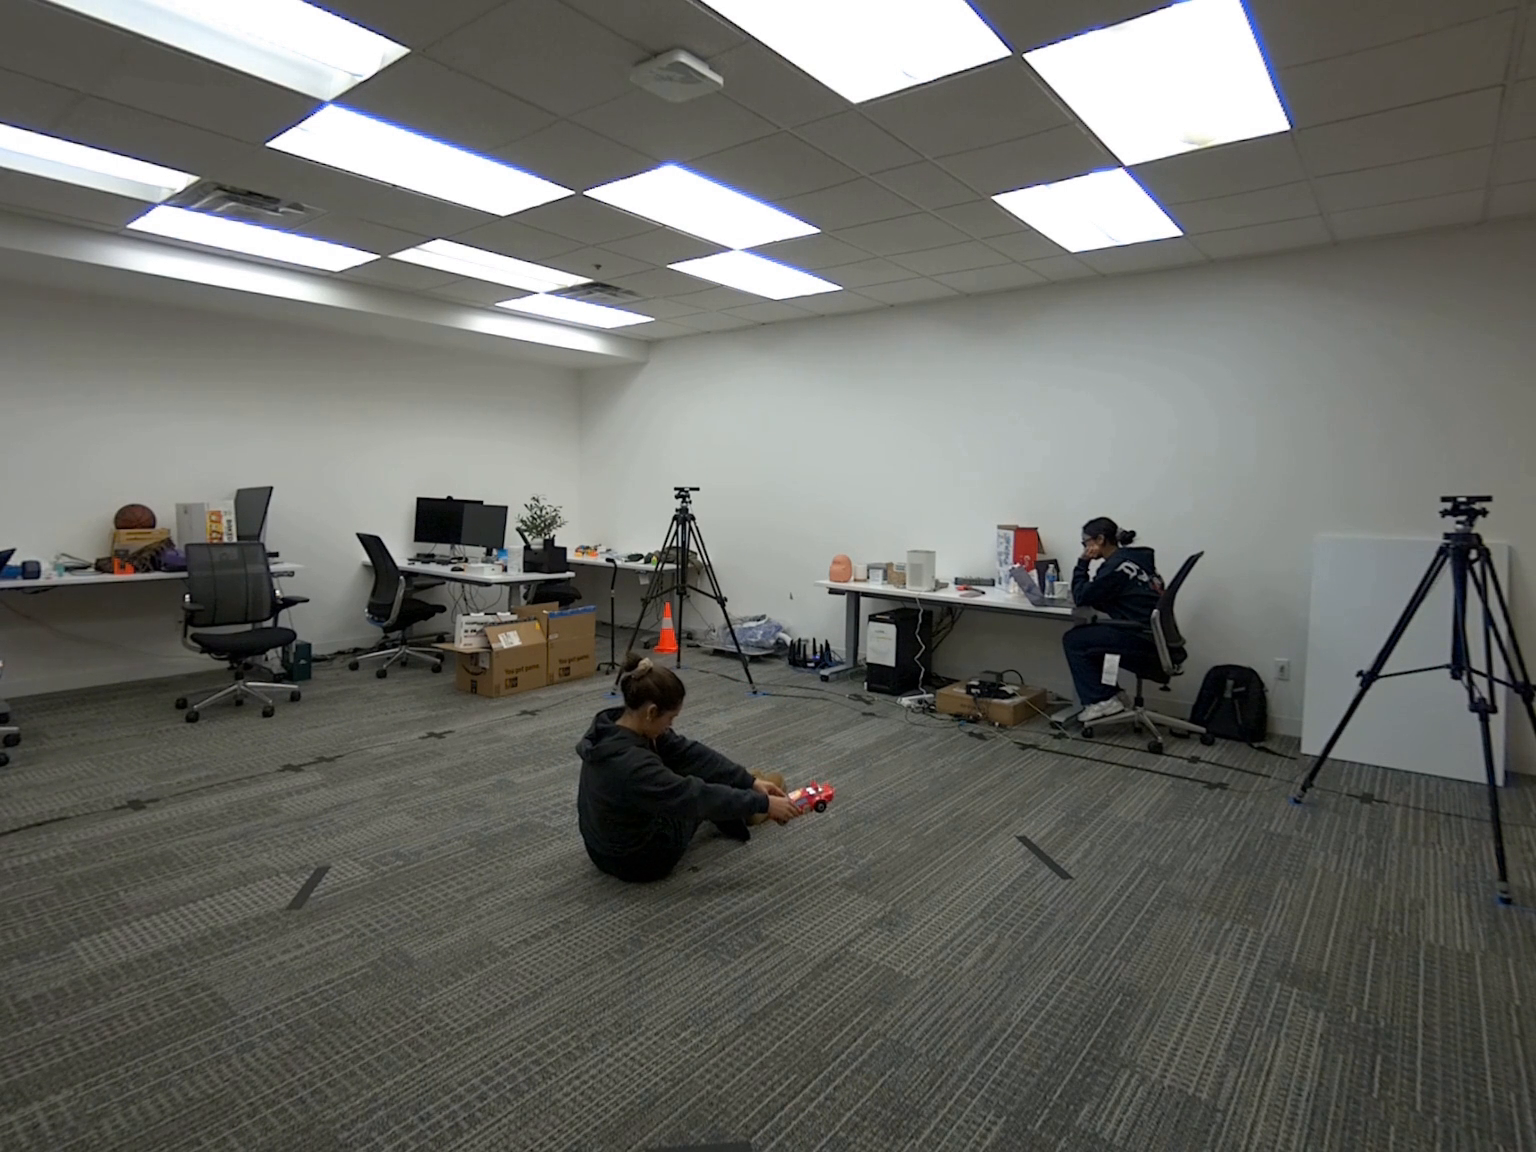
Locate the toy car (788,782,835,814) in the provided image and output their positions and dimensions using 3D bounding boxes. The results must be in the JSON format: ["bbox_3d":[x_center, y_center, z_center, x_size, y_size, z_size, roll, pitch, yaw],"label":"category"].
[{"bbox_3d":[0.123,0.818,3.062,0.253,0.082,0.133,-27,13,-9],"label":"toy car"}]
